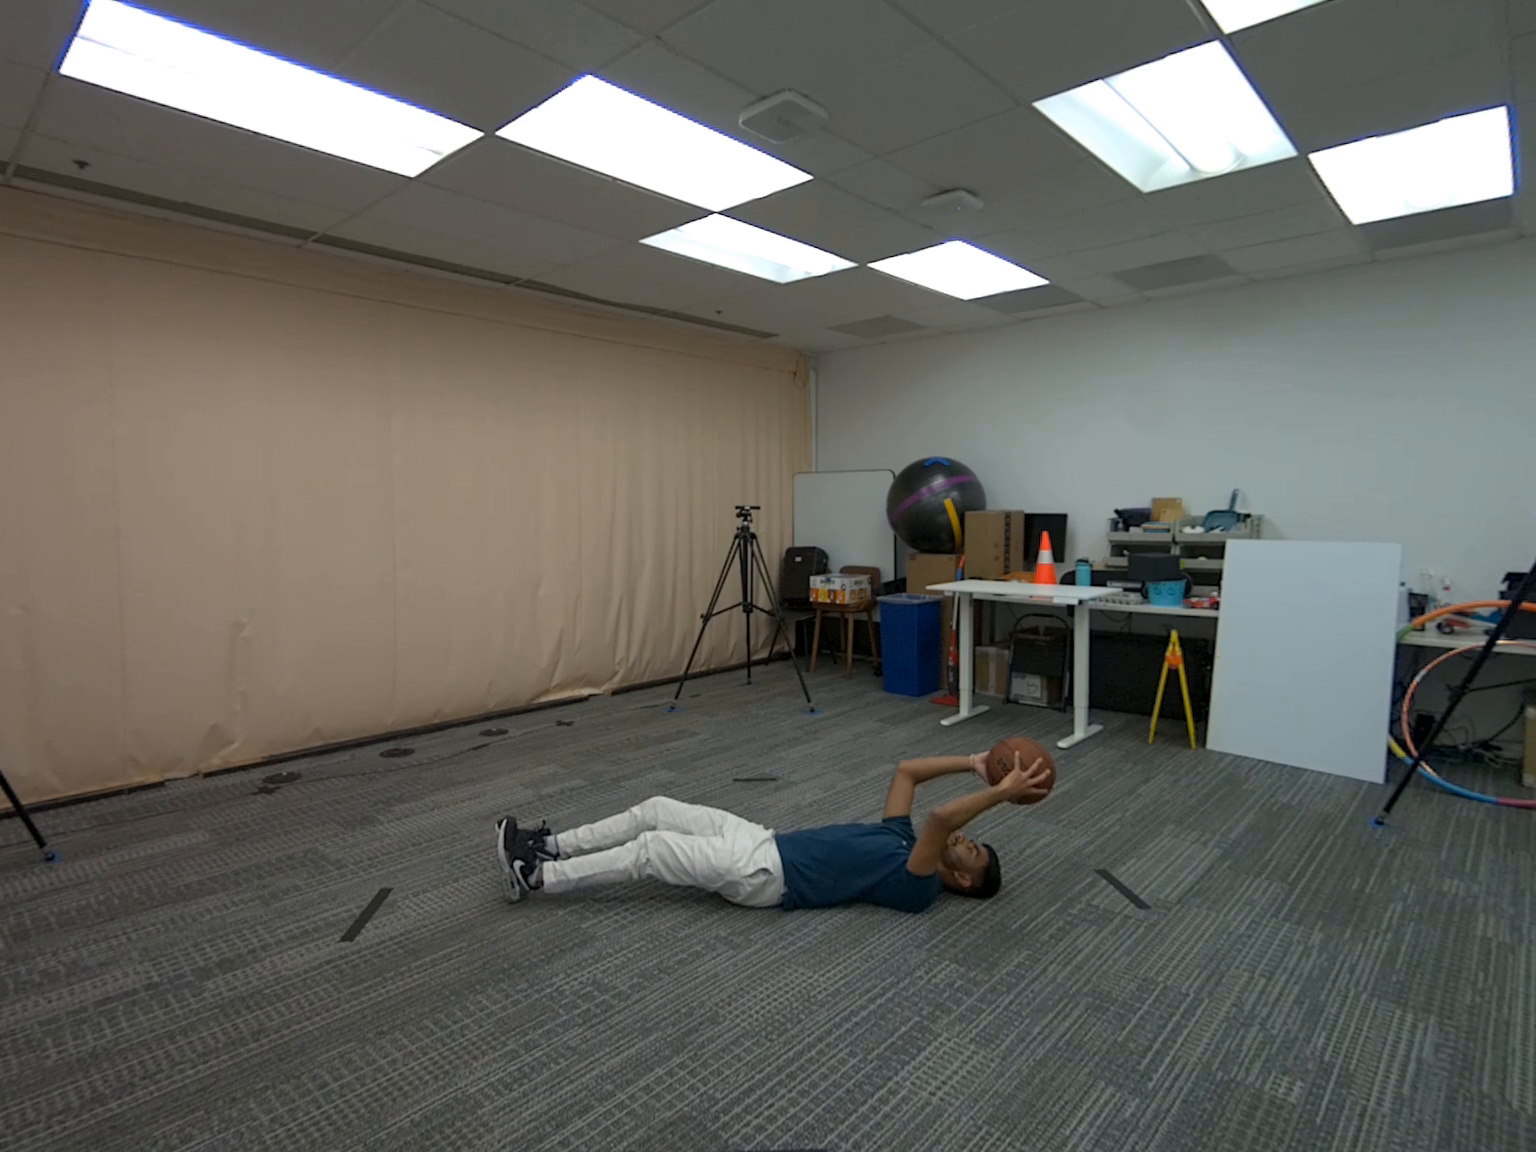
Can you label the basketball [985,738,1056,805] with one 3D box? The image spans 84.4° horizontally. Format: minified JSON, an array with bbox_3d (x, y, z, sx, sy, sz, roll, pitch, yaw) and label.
[{"bbox_3d":[0.915,0.699,3.024,0.236,0.235,0.237,0,4,-2],"label":"basketball"}]
